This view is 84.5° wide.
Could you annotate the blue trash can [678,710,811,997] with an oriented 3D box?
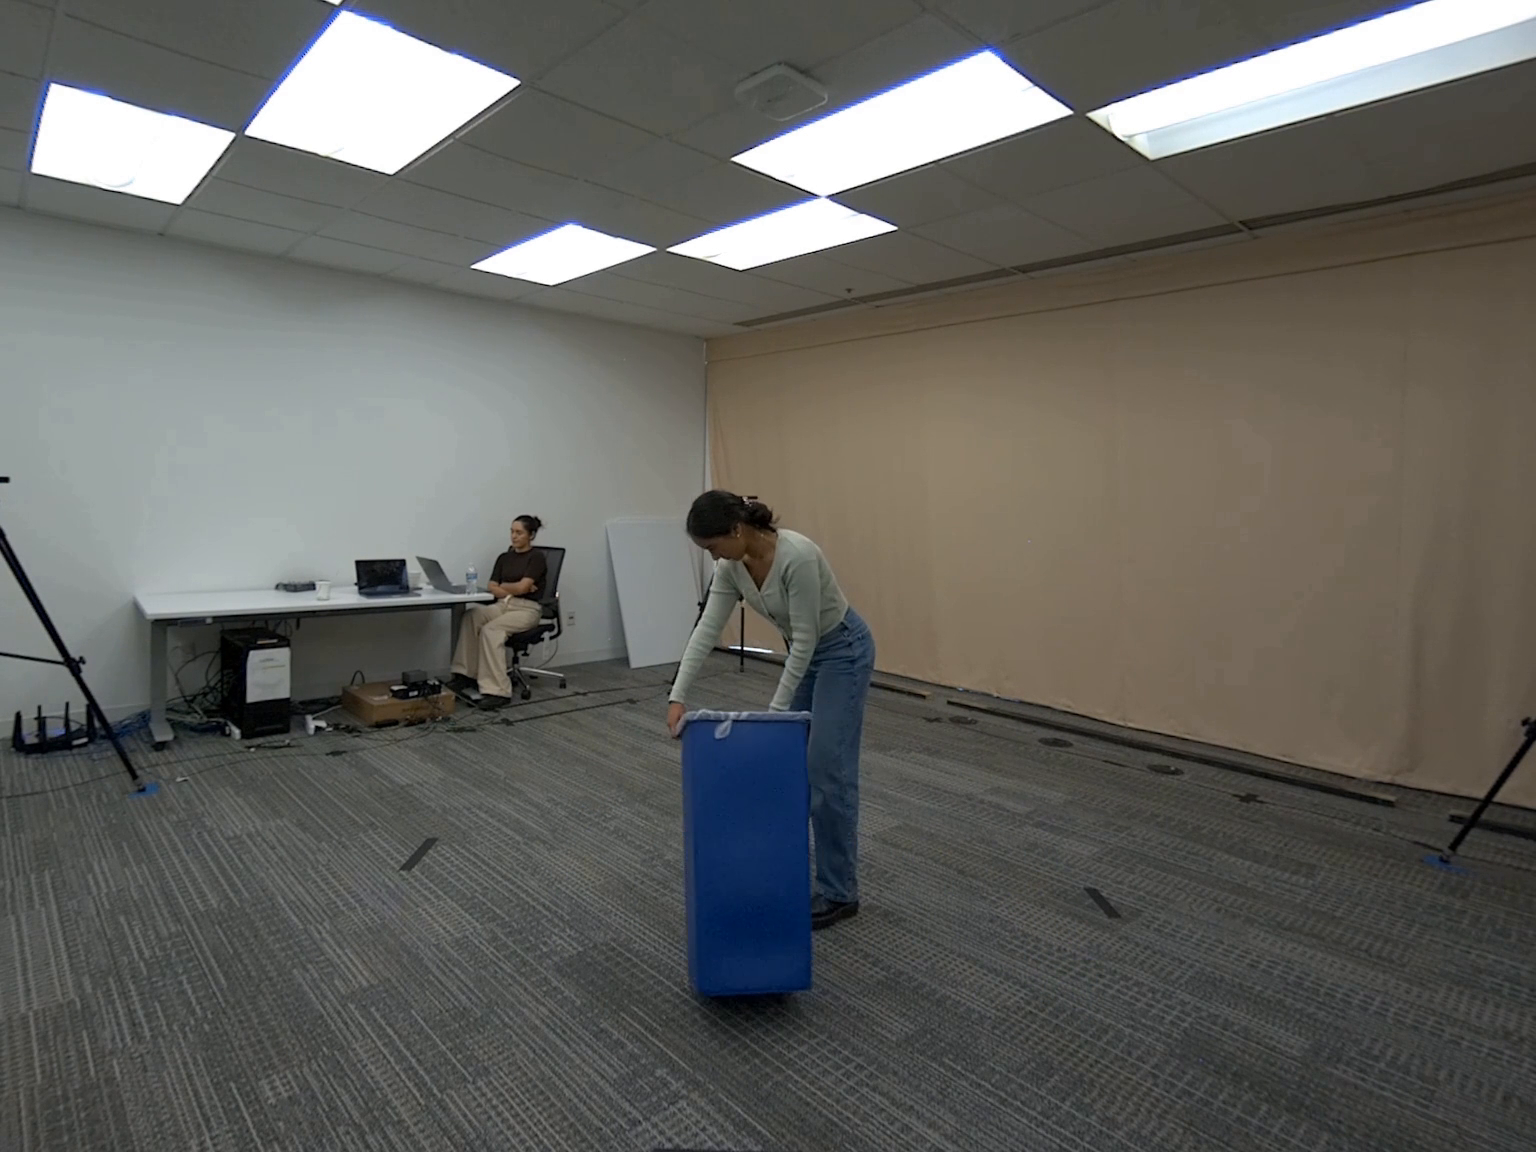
[{"bbox_3d":[-0.080,0.784,2.431,0.375,0.724,0.372,2,-20,-10],"label":"blue trash can"}]
